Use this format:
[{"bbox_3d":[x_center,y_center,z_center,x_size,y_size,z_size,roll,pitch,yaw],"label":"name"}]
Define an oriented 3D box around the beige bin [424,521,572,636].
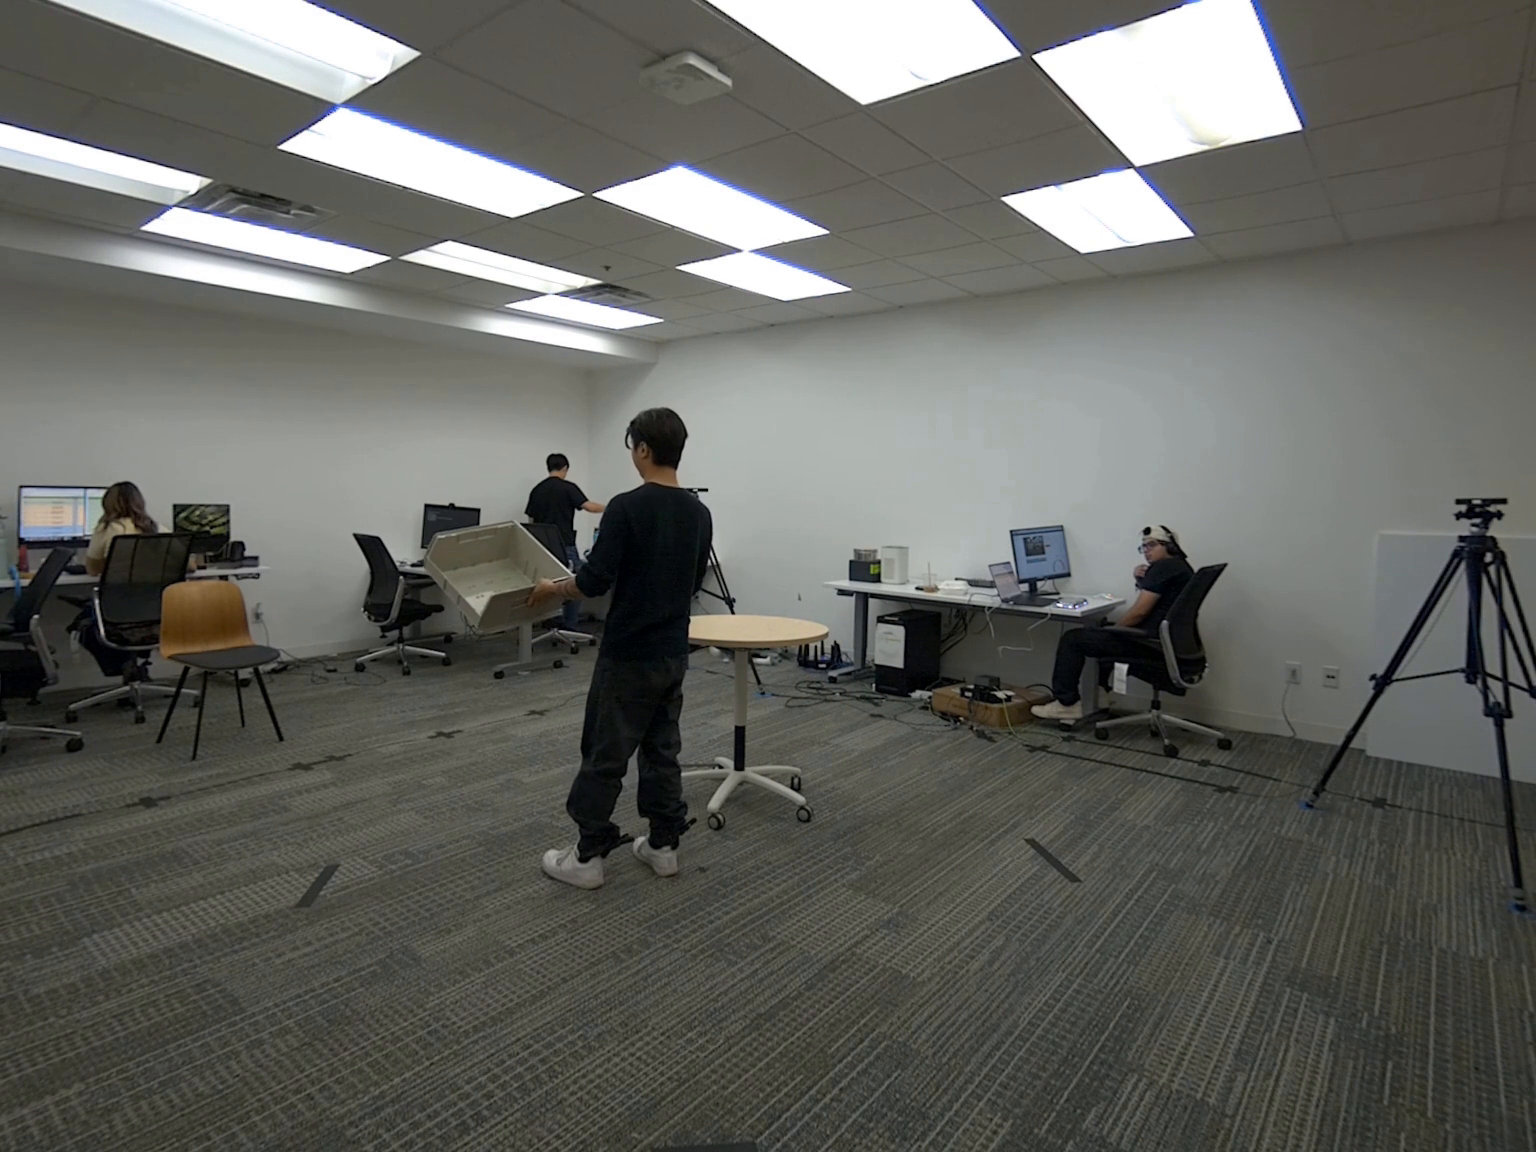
[{"bbox_3d":[-1.032,-0.003,3.195,0.368,0.186,0.439,-15,42,-44],"label":"beige bin"}]
